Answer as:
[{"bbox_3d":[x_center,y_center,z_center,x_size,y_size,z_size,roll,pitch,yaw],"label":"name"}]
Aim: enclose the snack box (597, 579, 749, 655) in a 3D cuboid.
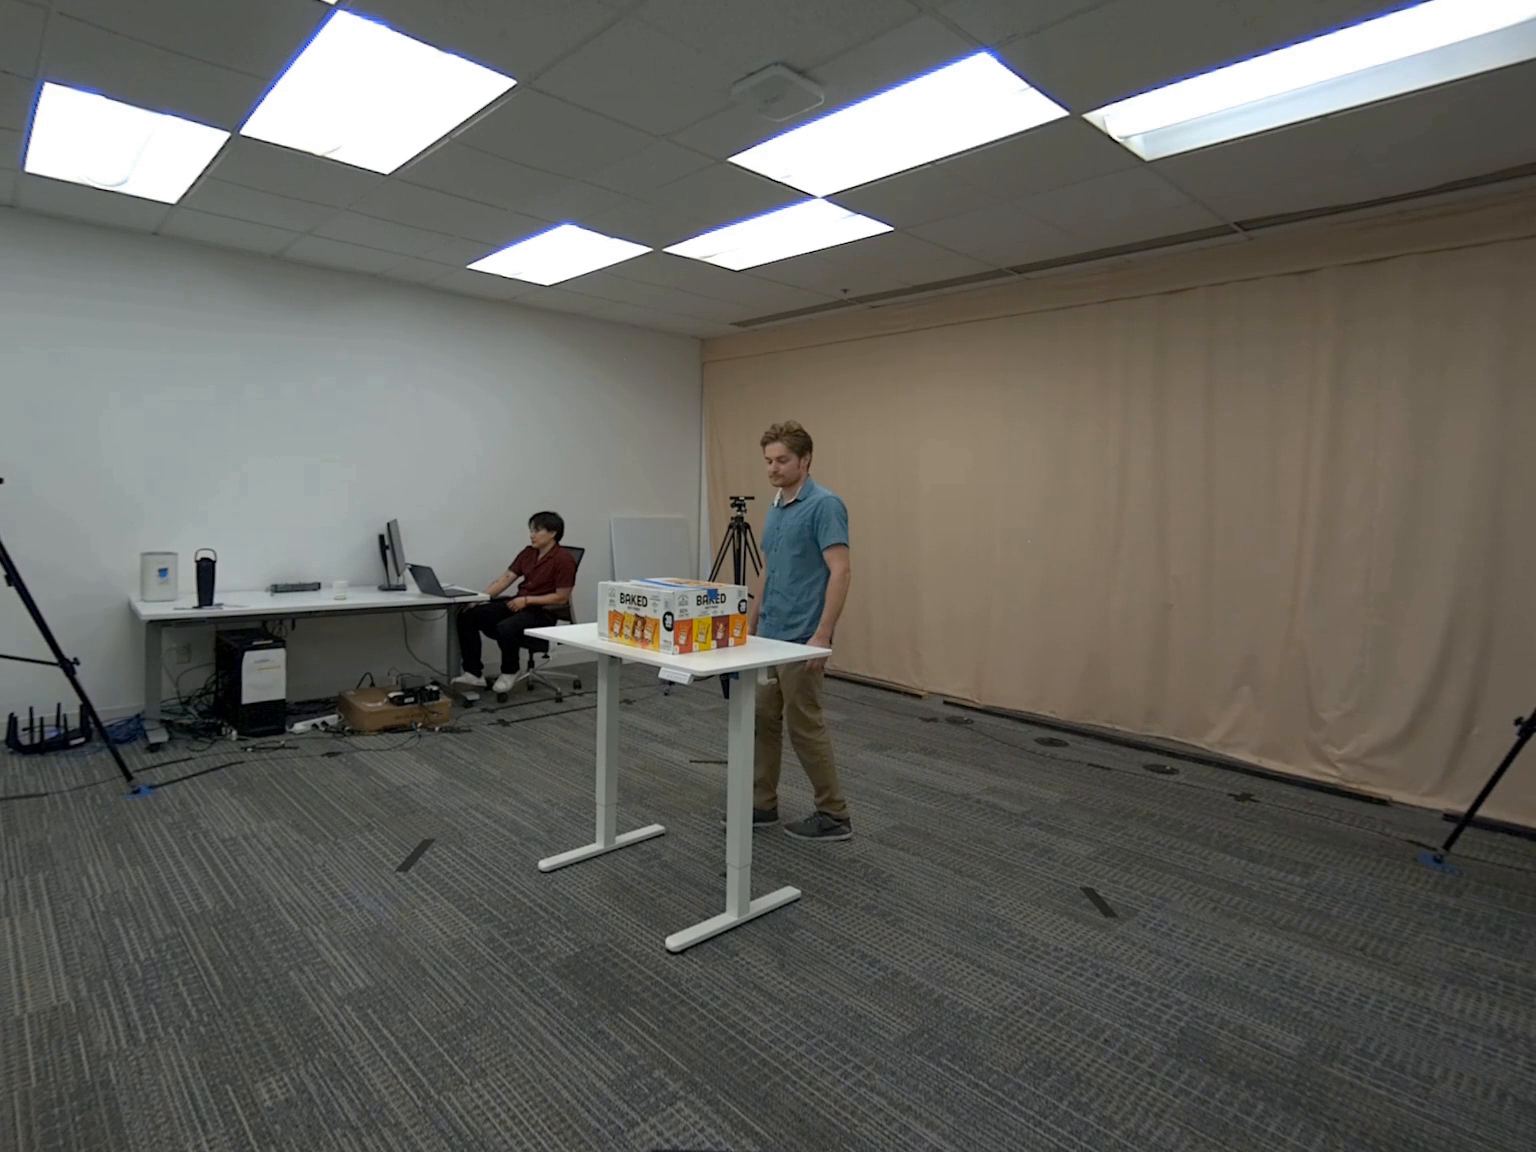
[{"bbox_3d":[-0.342,0.131,2.934,0.415,0.205,0.332,5,5,44],"label":"snack box"}]
